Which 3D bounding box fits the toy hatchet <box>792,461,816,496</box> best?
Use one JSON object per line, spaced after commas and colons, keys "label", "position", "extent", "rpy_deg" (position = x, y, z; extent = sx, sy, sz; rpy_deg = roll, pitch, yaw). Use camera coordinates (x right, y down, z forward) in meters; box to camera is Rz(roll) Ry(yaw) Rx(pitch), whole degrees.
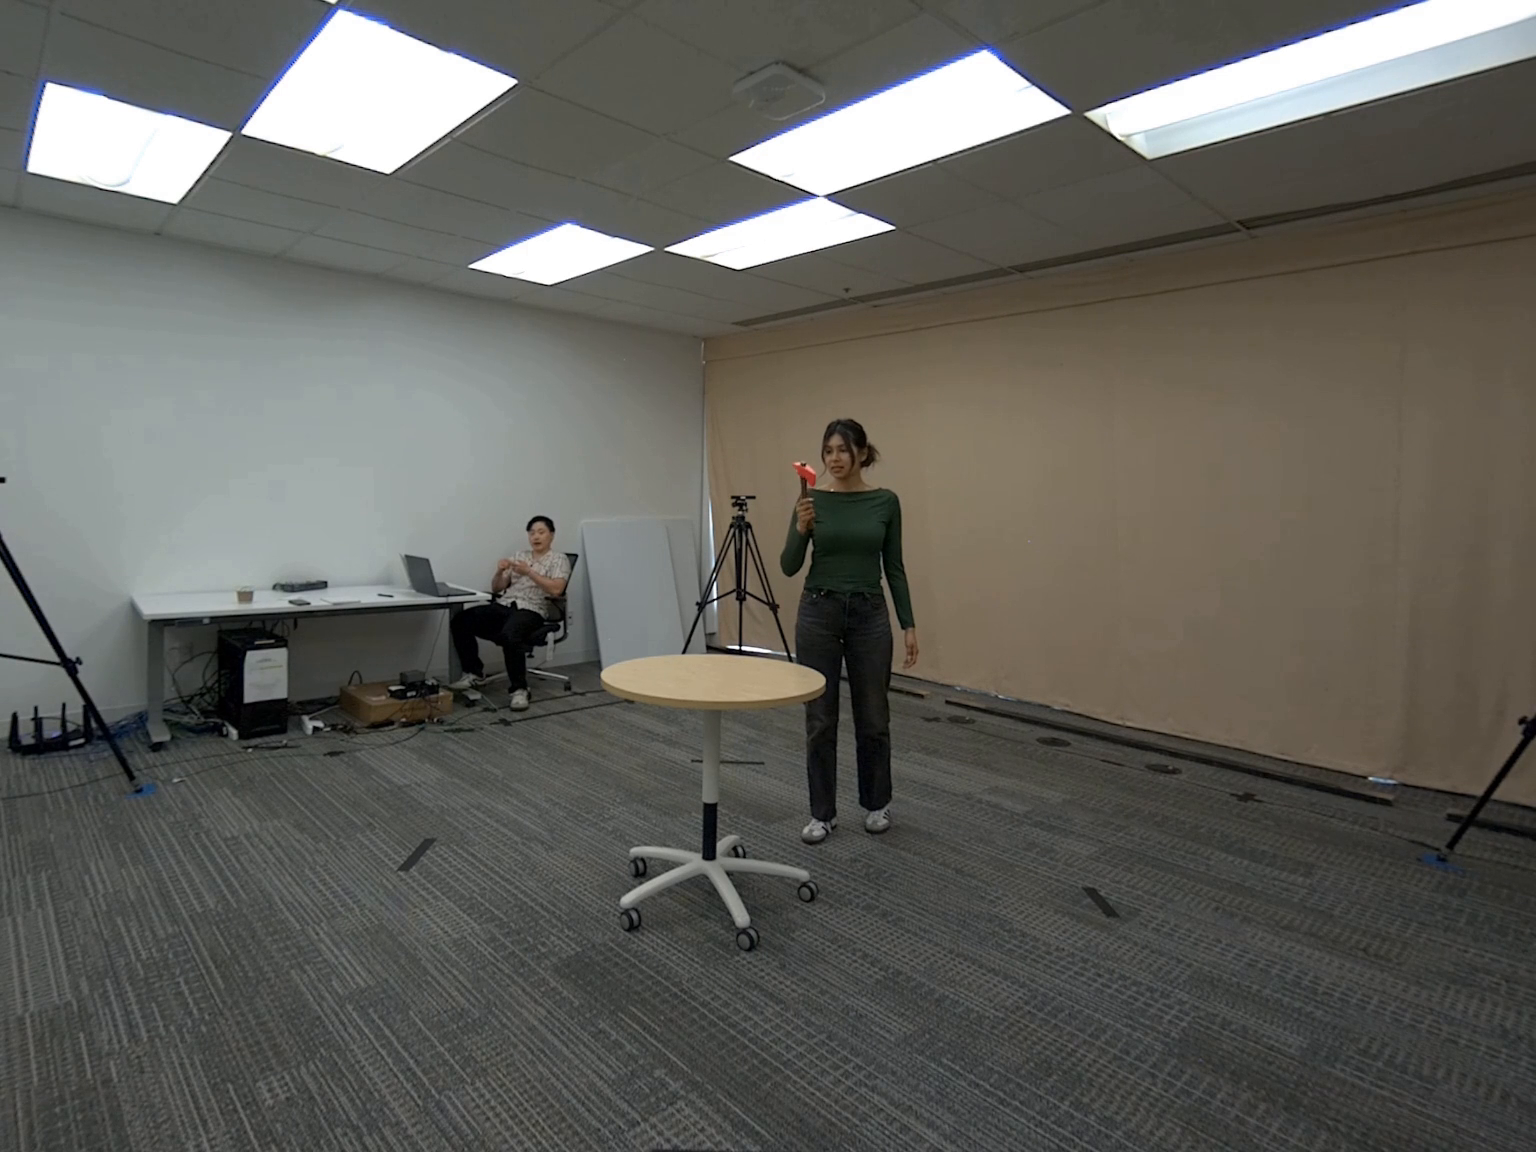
{"label": "toy hatchet", "position": [0.153, -0.304, 3.153], "extent": [0.029, 0.266, 0.134], "rpy_deg": [-25, 21, -31]}
